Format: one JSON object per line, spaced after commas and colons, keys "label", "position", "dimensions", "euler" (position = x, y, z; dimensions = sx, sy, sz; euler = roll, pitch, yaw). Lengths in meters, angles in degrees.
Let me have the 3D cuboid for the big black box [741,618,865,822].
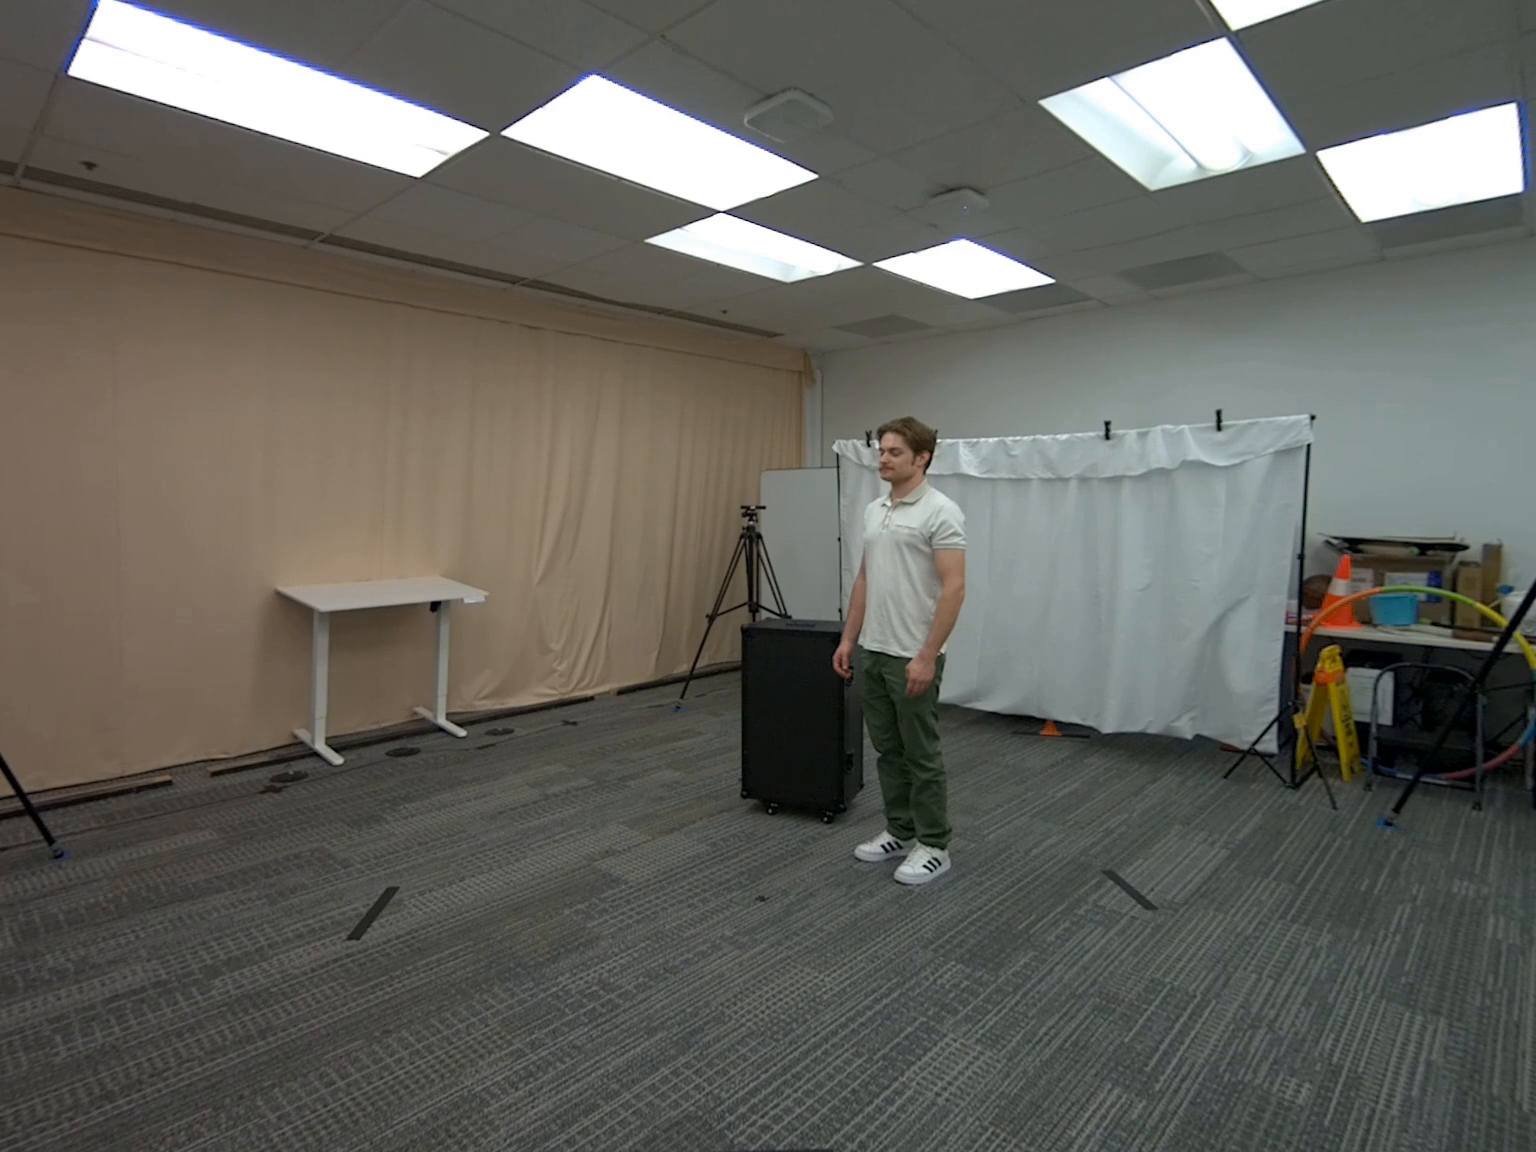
{"label": "big black box", "position": [0.162, 0.645, 3.879], "dimensions": [0.535, 0.867, 0.377], "euler": [1, 3, 21]}
